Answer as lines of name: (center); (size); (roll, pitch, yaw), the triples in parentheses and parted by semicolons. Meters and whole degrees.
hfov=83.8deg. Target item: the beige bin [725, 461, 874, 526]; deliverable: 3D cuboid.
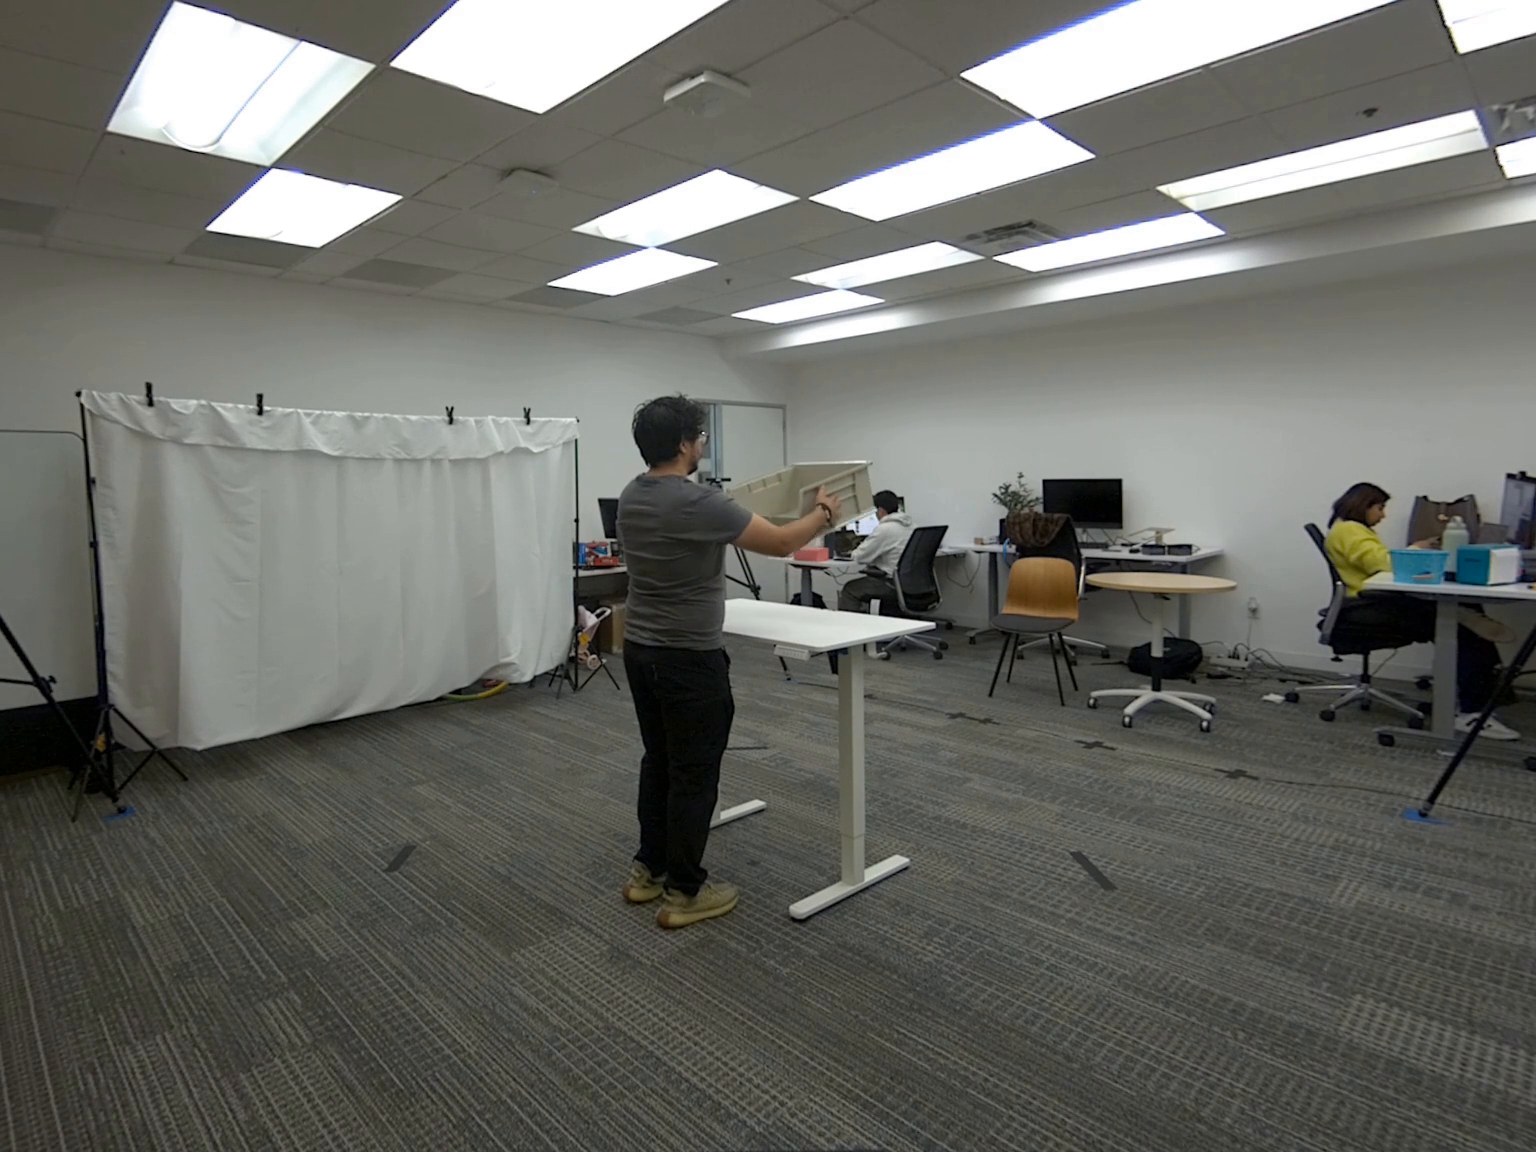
beige bin: (0.111, -0.265, 3.071); (0.371, 0.186, 0.435); (-23, 18, -34)
